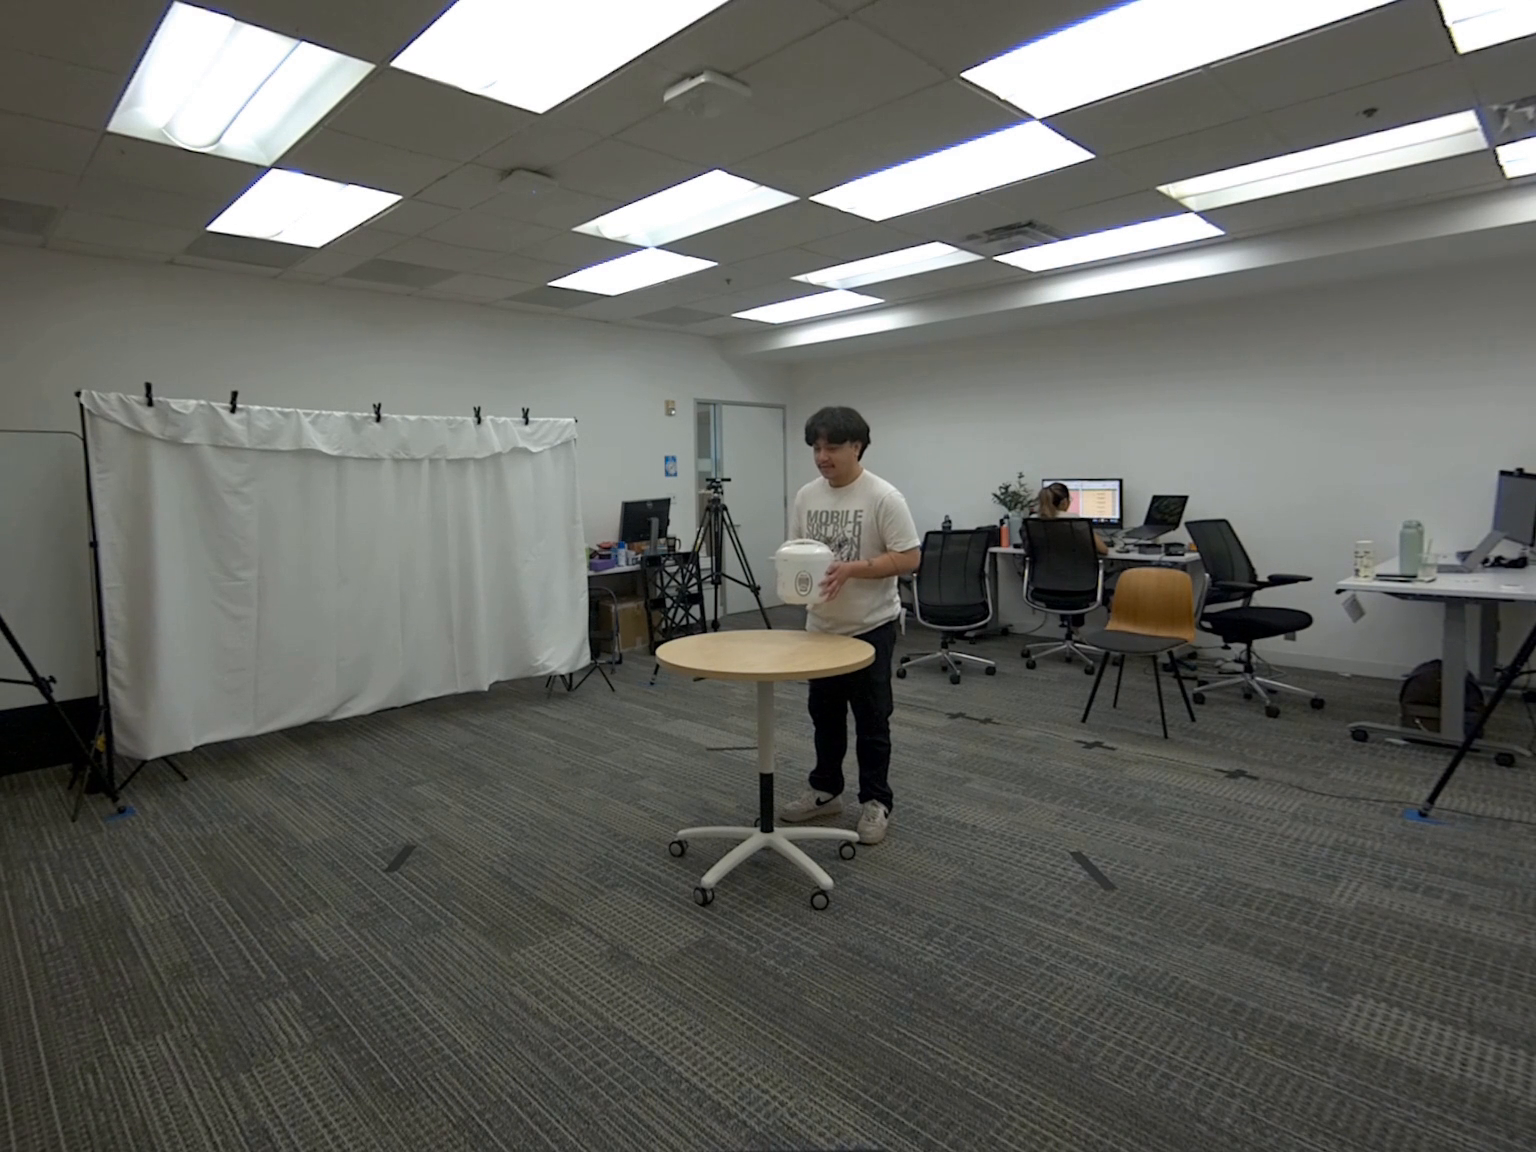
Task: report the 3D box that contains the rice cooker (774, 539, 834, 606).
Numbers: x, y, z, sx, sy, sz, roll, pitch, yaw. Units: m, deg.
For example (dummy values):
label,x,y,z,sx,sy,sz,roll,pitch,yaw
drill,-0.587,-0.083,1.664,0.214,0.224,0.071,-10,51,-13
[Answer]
label,x,y,z,sx,sy,sz,roll,pitch,yaw
rice cooker,0.137,-0.018,3.164,0.222,0.232,0.216,-1,4,7
